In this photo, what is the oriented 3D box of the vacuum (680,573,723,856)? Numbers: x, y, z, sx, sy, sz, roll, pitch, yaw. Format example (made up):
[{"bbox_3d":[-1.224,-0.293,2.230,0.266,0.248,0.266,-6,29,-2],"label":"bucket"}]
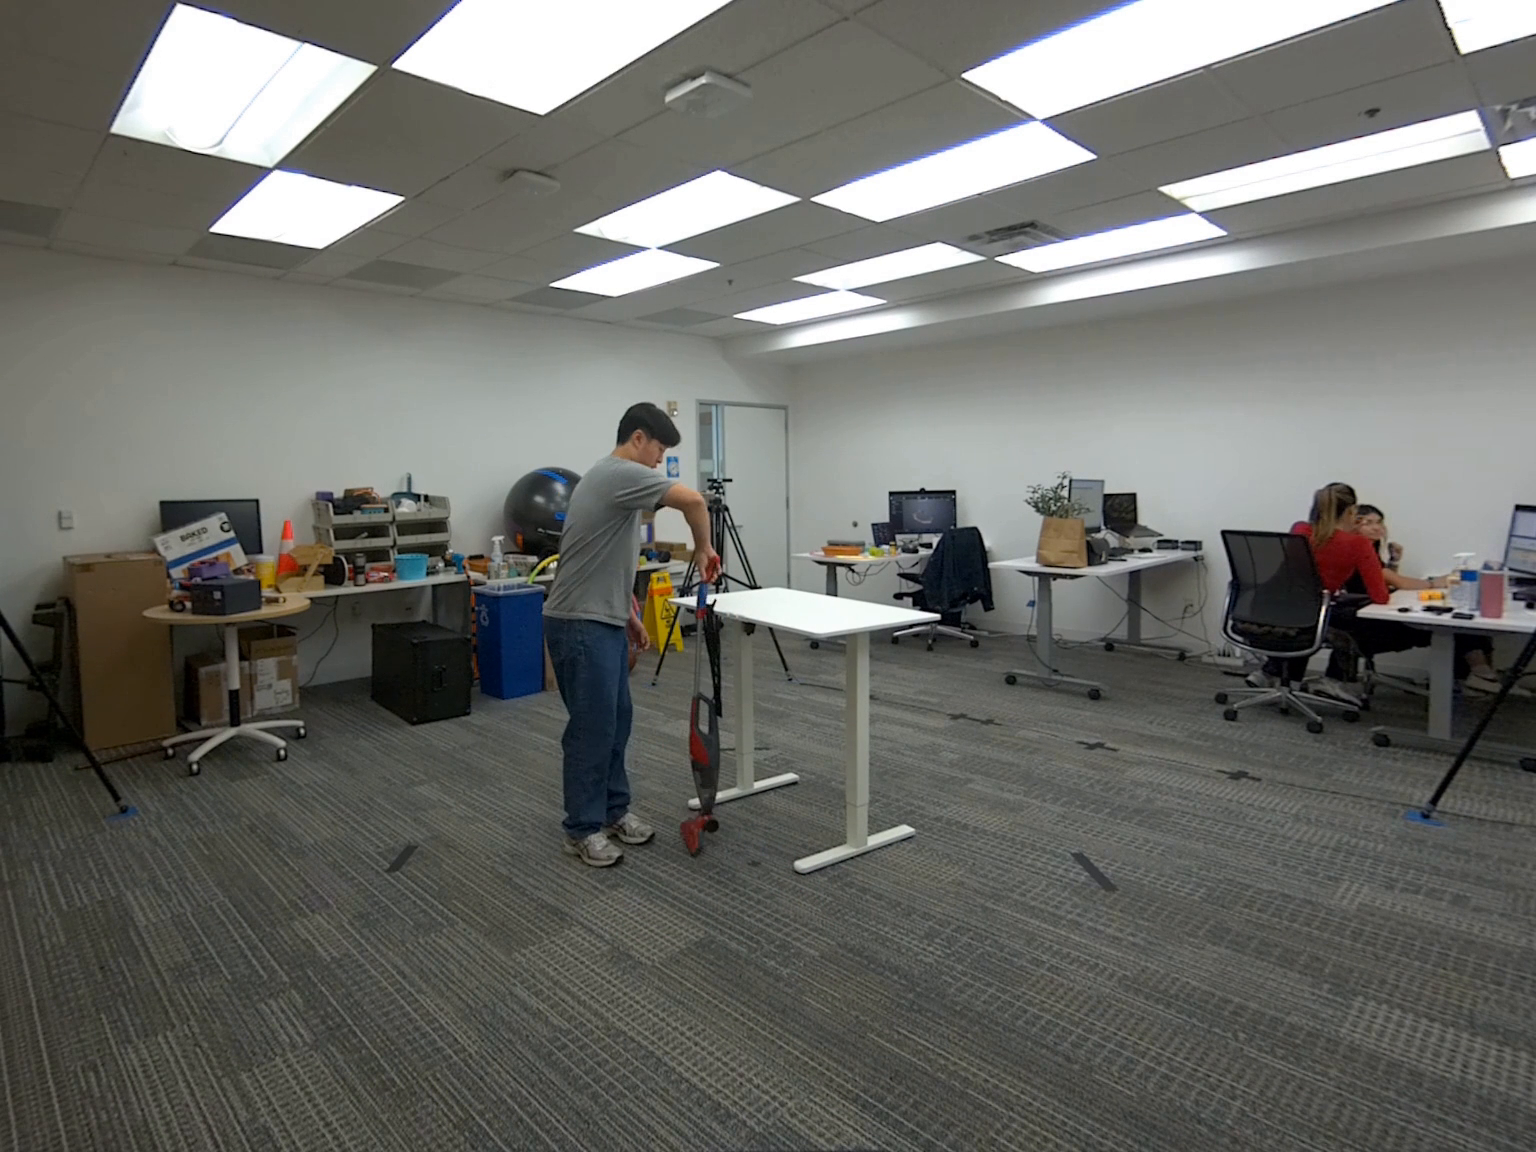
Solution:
[{"bbox_3d":[-0.224,0.461,3.247,0.144,1.045,0.253,6,5,0],"label":"vacuum"}]
